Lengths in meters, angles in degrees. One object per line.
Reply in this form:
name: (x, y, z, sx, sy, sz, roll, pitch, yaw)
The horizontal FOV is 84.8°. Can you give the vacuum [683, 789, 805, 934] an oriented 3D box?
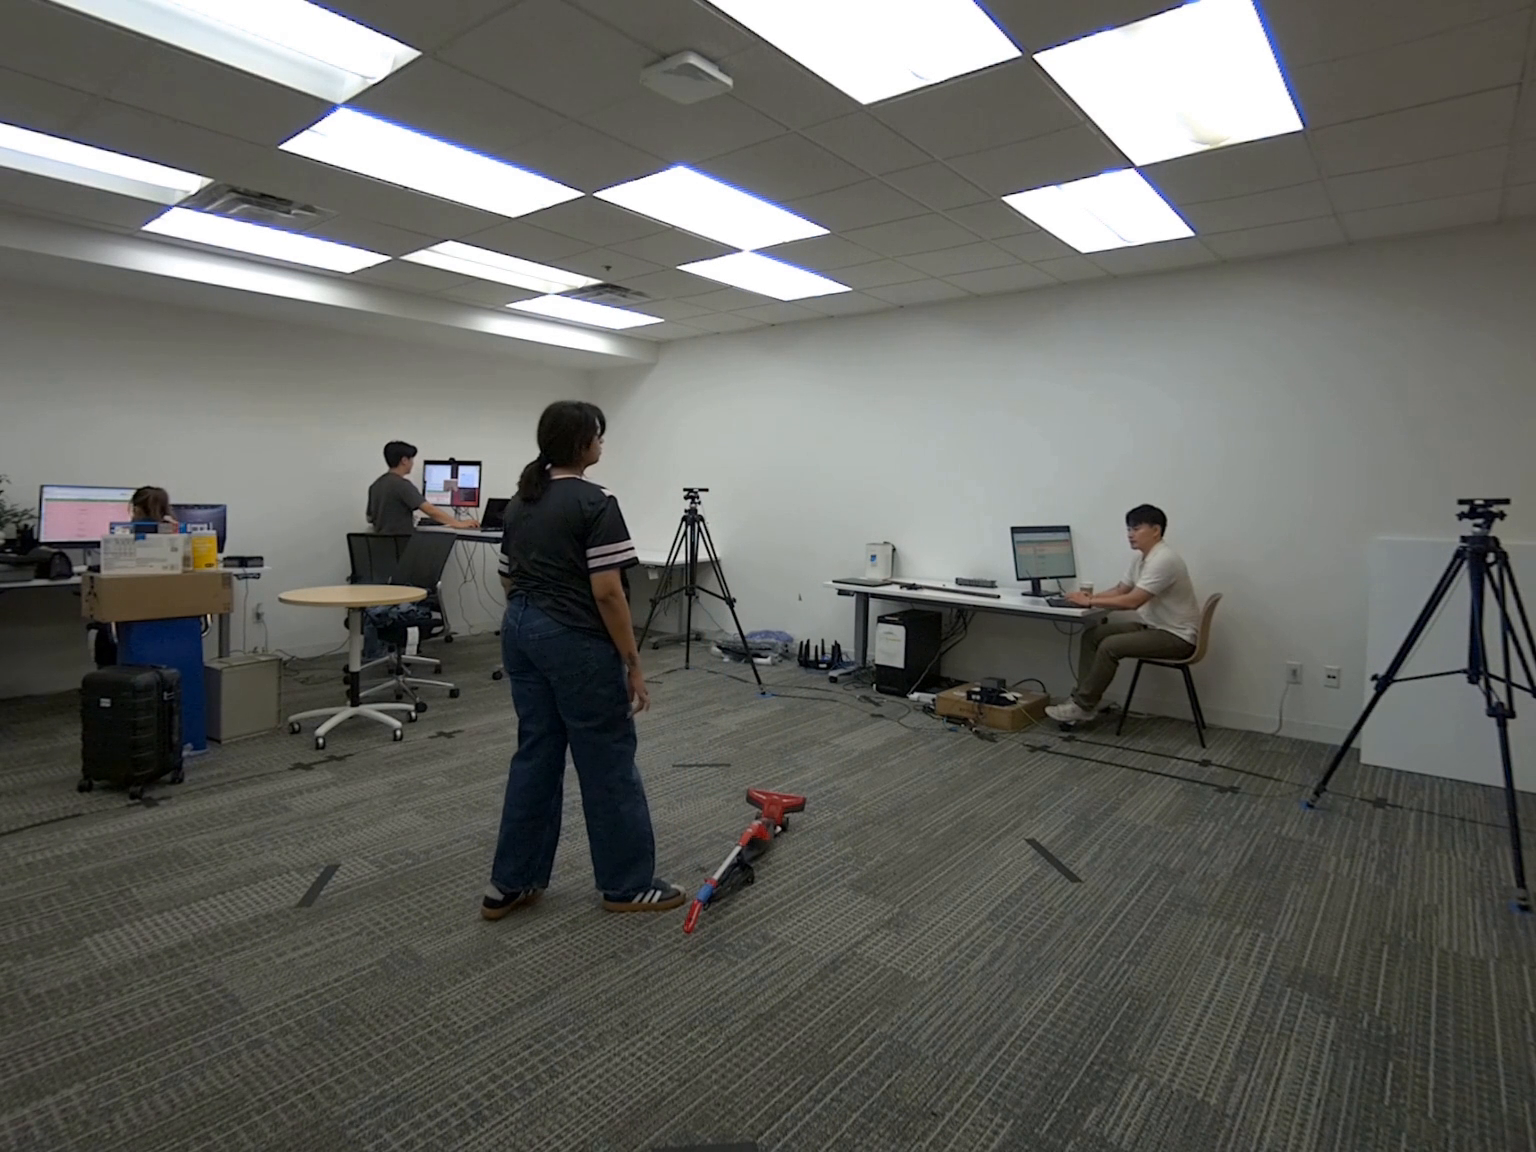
vacuum: (-0.117, 1.013, 3.037, 0.257, 0.143, 1.035, 3, 6, 15)
